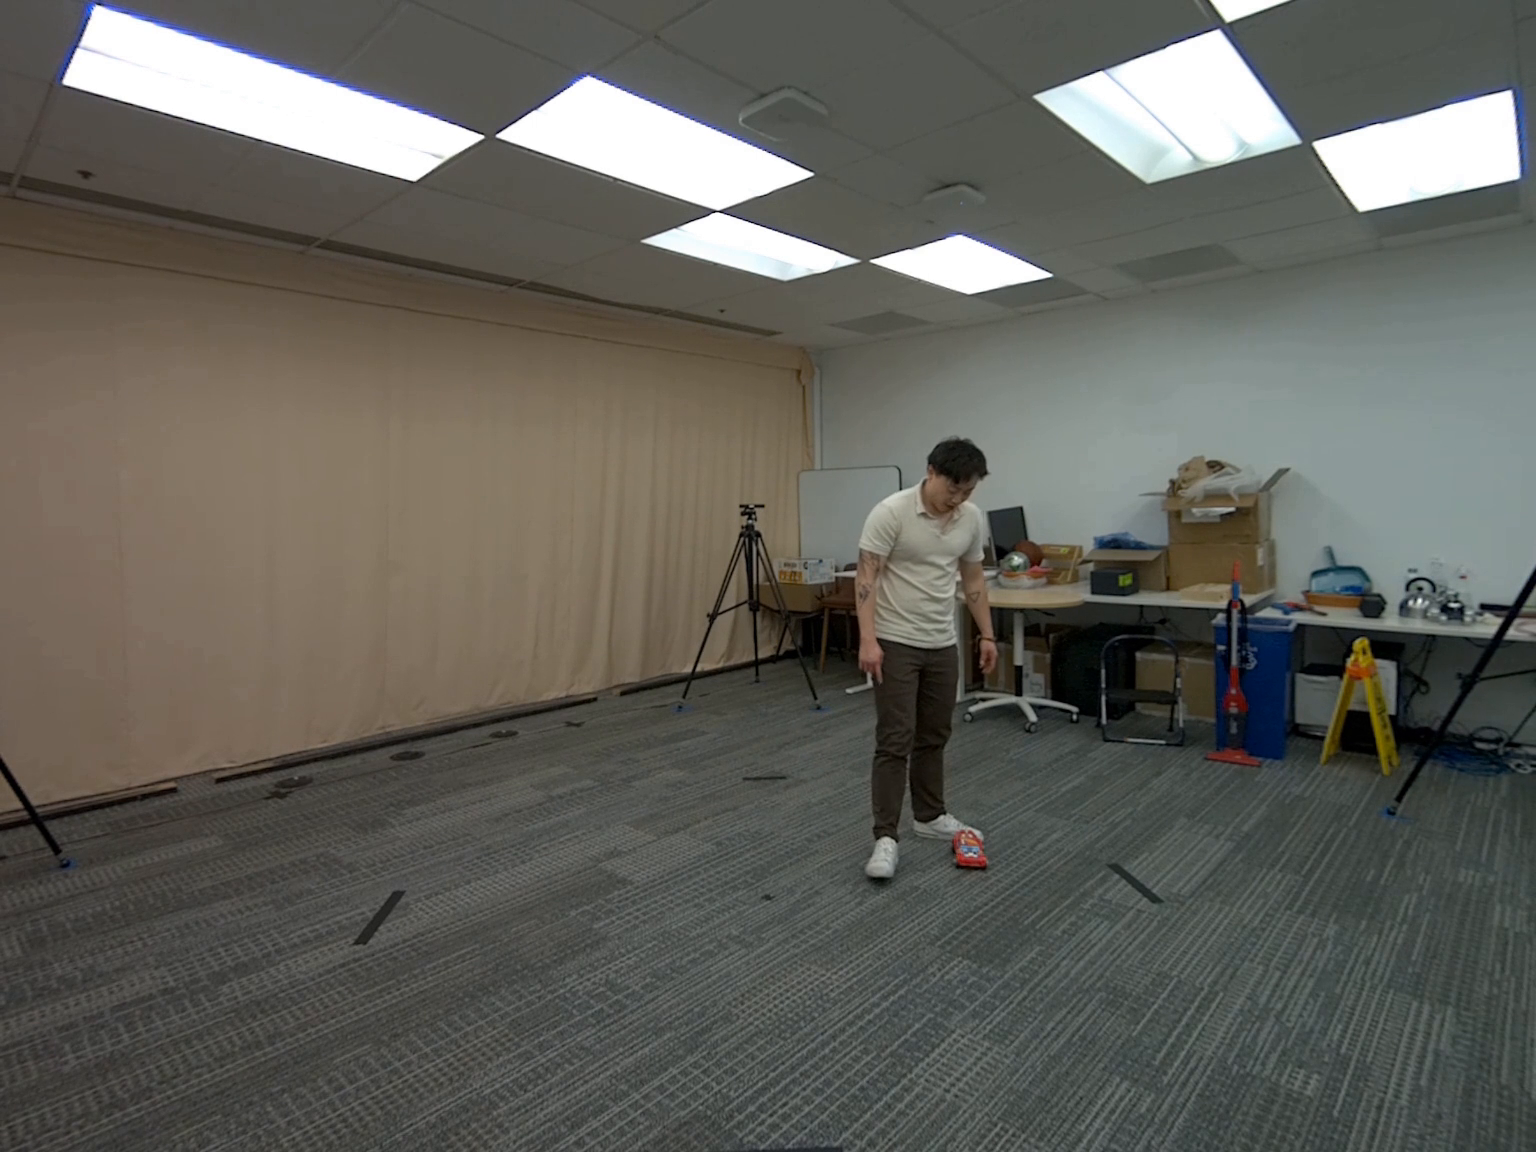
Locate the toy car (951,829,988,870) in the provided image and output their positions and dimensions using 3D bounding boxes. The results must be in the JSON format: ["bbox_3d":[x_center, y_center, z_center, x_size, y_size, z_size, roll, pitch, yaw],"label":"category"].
[{"bbox_3d":[0.787,1.069,3.287,0.132,0.082,0.254,0,15,10],"label":"toy car"}]
